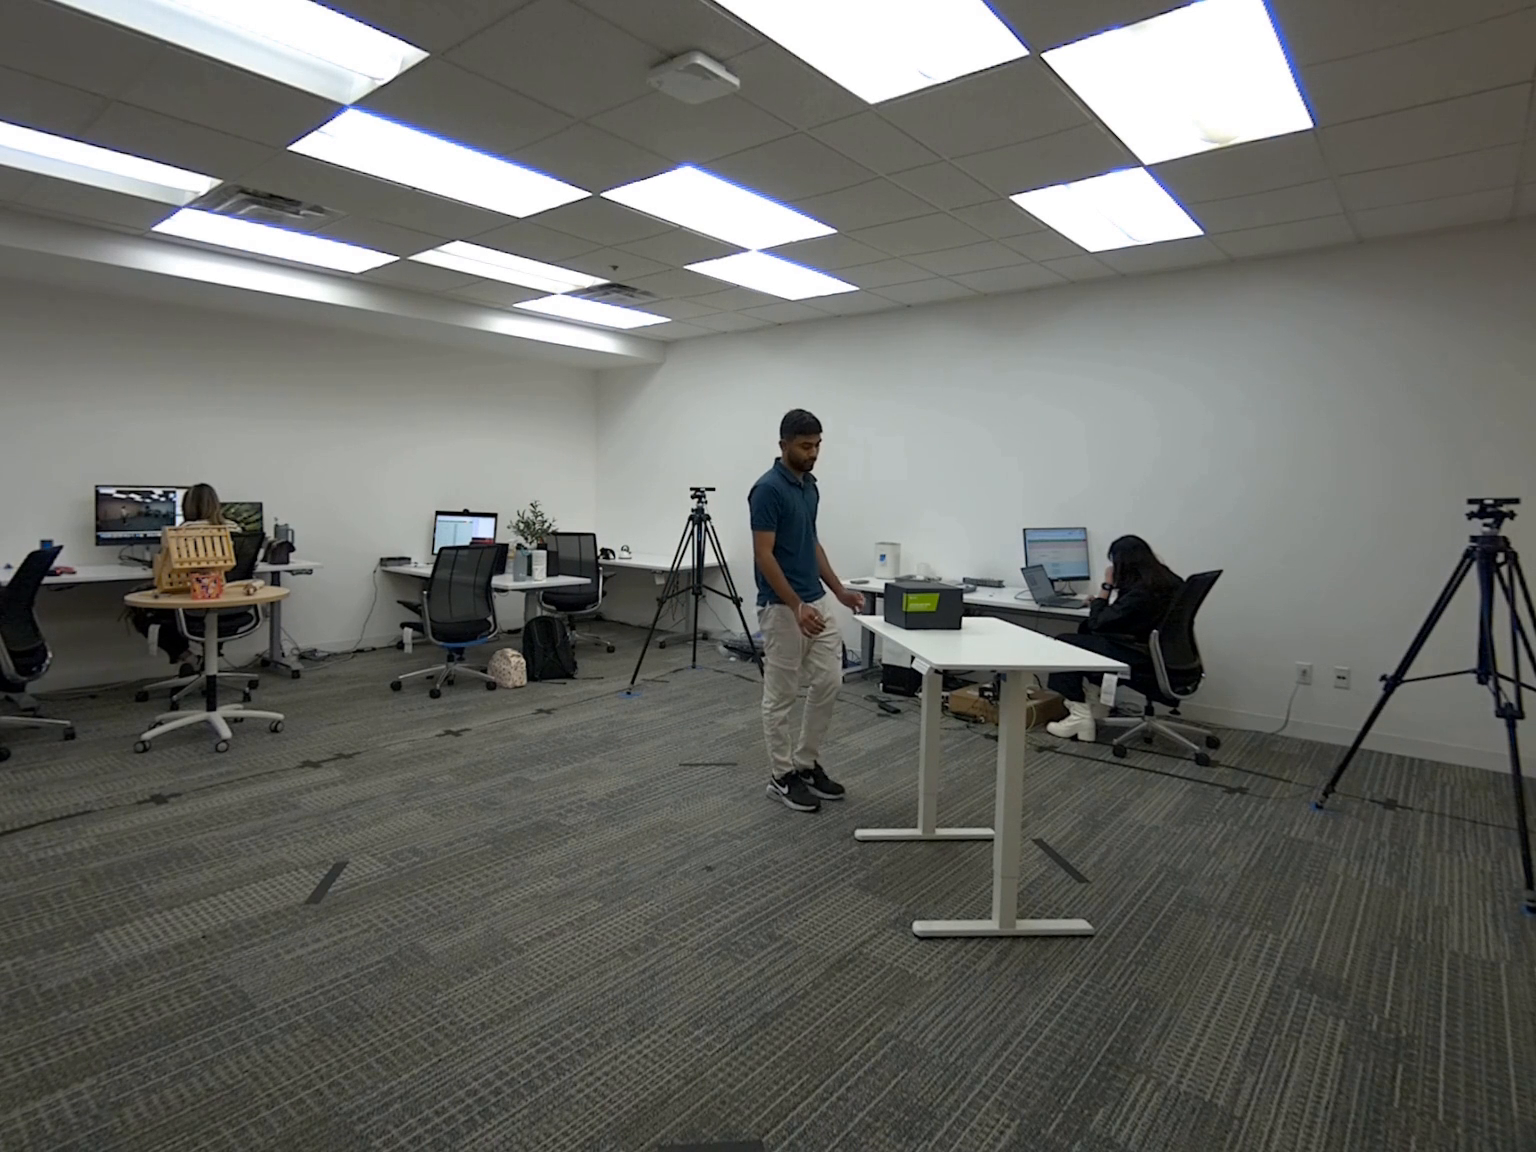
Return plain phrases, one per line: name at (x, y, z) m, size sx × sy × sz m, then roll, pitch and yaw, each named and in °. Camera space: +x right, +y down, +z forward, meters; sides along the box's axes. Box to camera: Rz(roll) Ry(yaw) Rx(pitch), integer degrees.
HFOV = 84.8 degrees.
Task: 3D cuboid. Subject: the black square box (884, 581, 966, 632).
black square box at (0.600, 0.112, 3.246) m, size 0.226 × 0.155 × 0.220 m, roll 2°, pitch 5°, yaw -10°
